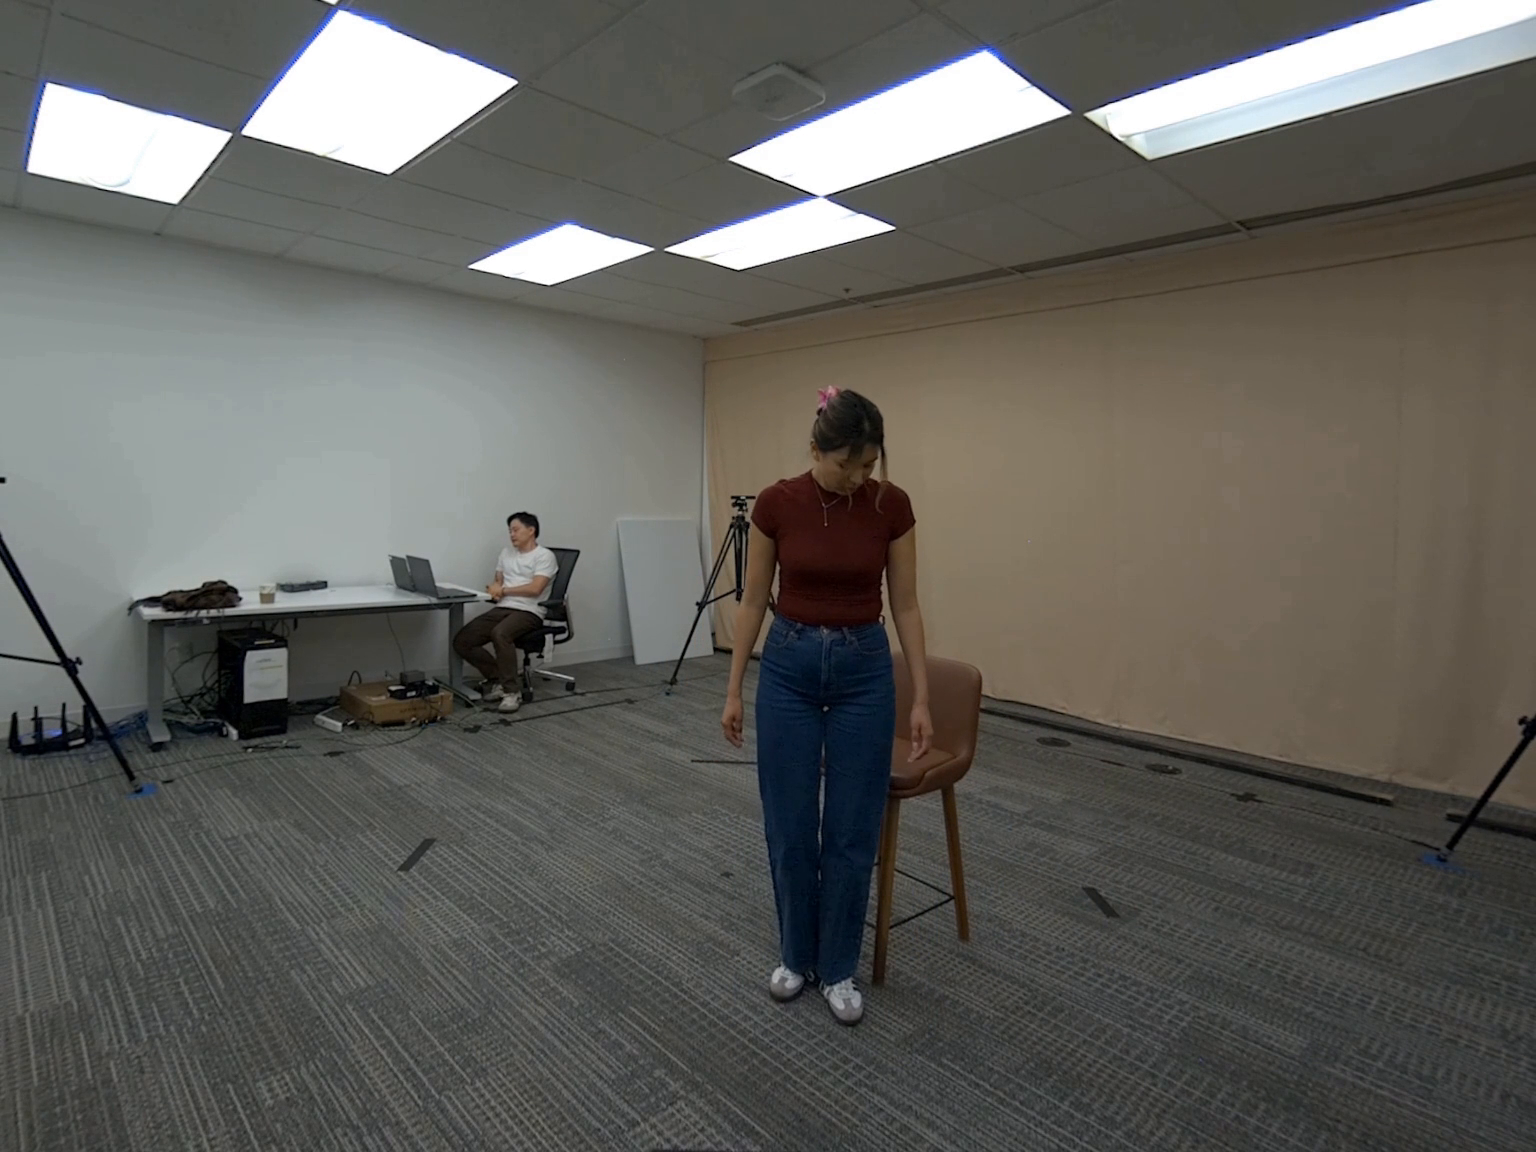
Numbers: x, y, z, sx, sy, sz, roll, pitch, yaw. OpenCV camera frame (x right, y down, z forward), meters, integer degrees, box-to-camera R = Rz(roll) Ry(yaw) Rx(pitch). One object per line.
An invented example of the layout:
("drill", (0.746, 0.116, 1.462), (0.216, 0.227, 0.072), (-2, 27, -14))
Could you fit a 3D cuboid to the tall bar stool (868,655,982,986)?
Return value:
("tall bar stool", (0.371, 0.719, 2.672), (0.457, 0.888, 0.468), (1, 4, -39))
